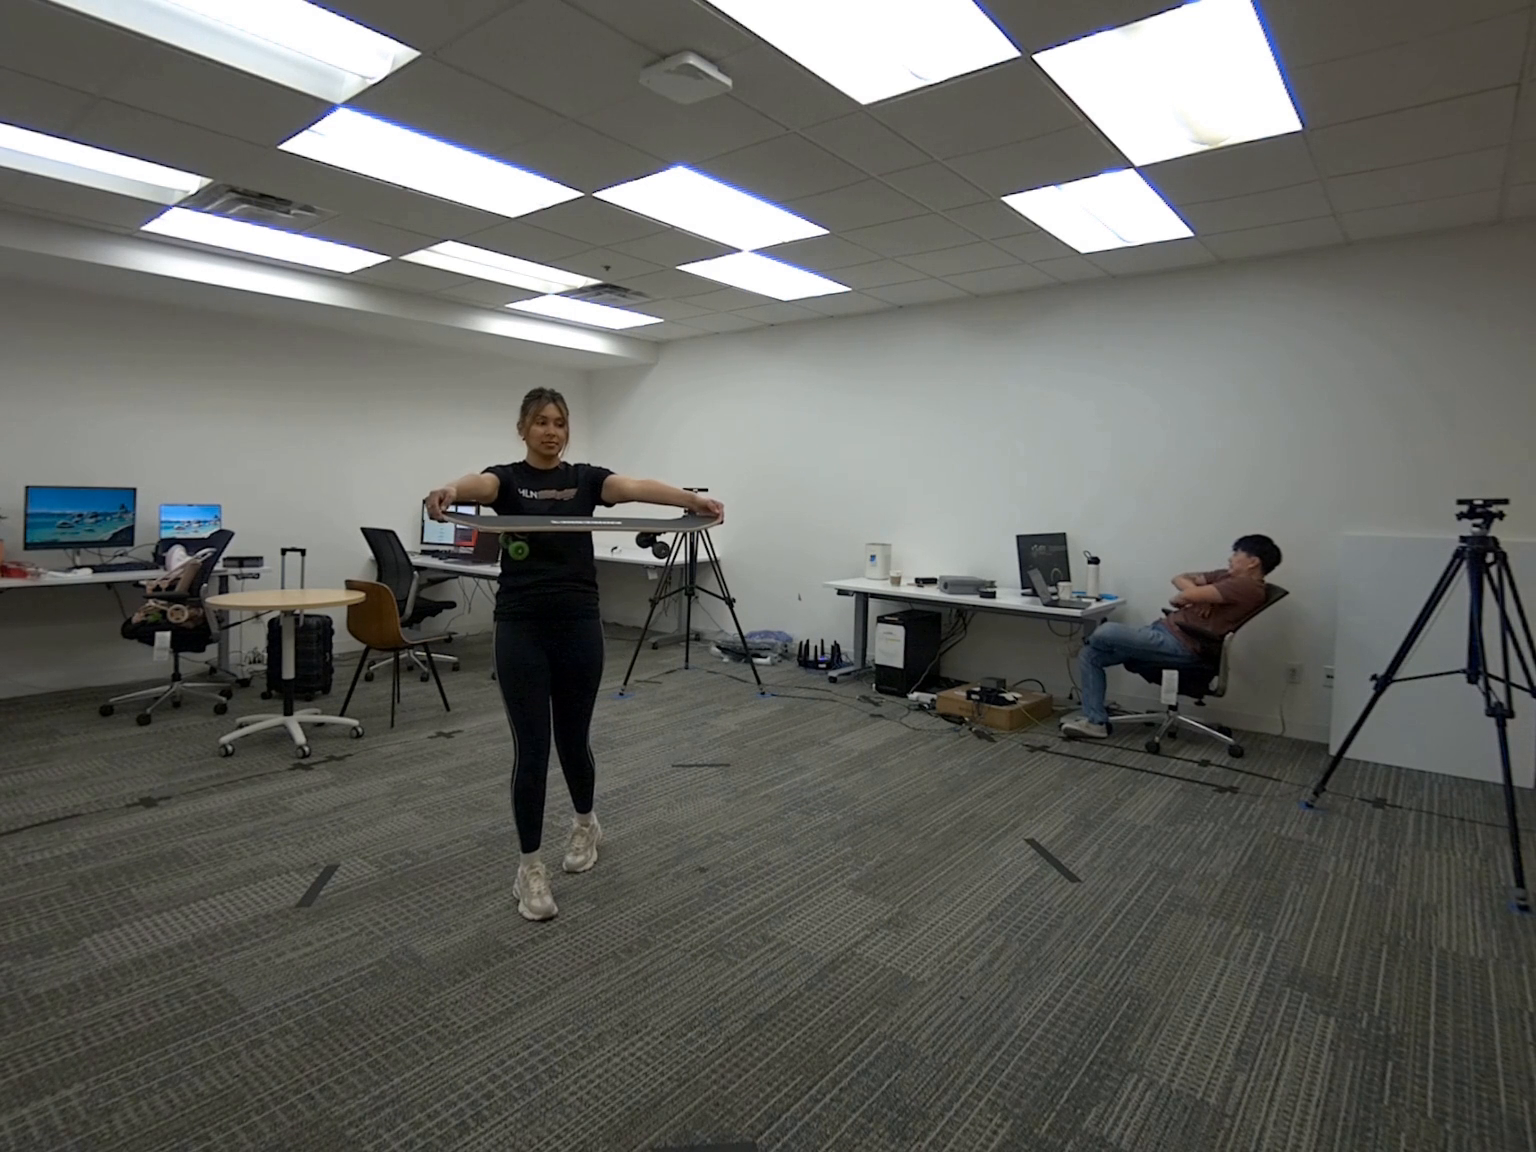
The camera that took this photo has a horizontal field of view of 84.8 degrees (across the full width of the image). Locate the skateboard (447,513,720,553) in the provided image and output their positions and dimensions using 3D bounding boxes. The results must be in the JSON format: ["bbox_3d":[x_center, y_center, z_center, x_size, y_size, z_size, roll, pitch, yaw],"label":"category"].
[{"bbox_3d":[-0.537,-0.117,2.378,0.767,0.109,0.200,-1,15,-23],"label":"skateboard"}]
